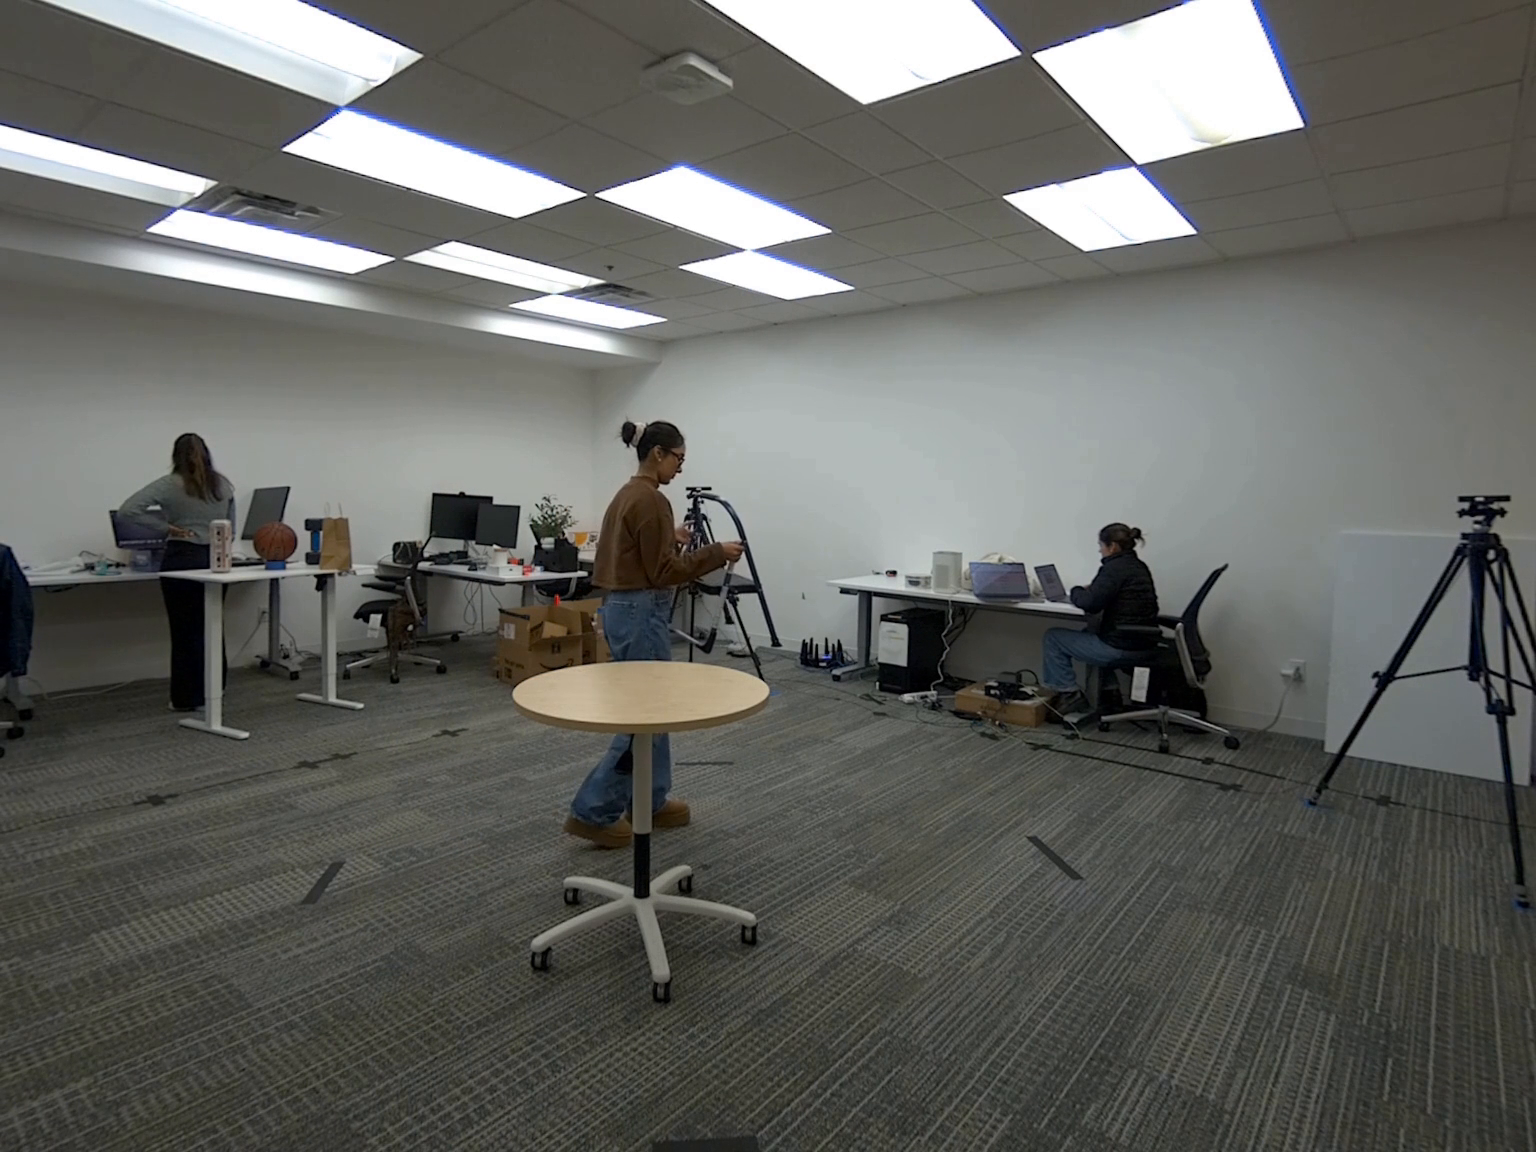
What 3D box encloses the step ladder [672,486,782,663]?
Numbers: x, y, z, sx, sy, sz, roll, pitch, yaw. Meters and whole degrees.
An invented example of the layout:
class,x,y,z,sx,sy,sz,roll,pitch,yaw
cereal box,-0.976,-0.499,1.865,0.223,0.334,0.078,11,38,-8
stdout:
class,x,y,z,sx,sy,sz,roll,pitch,yaw
step ladder,-0.203,-0.041,3.521,0.340,0.601,0.446,-3,11,-31
